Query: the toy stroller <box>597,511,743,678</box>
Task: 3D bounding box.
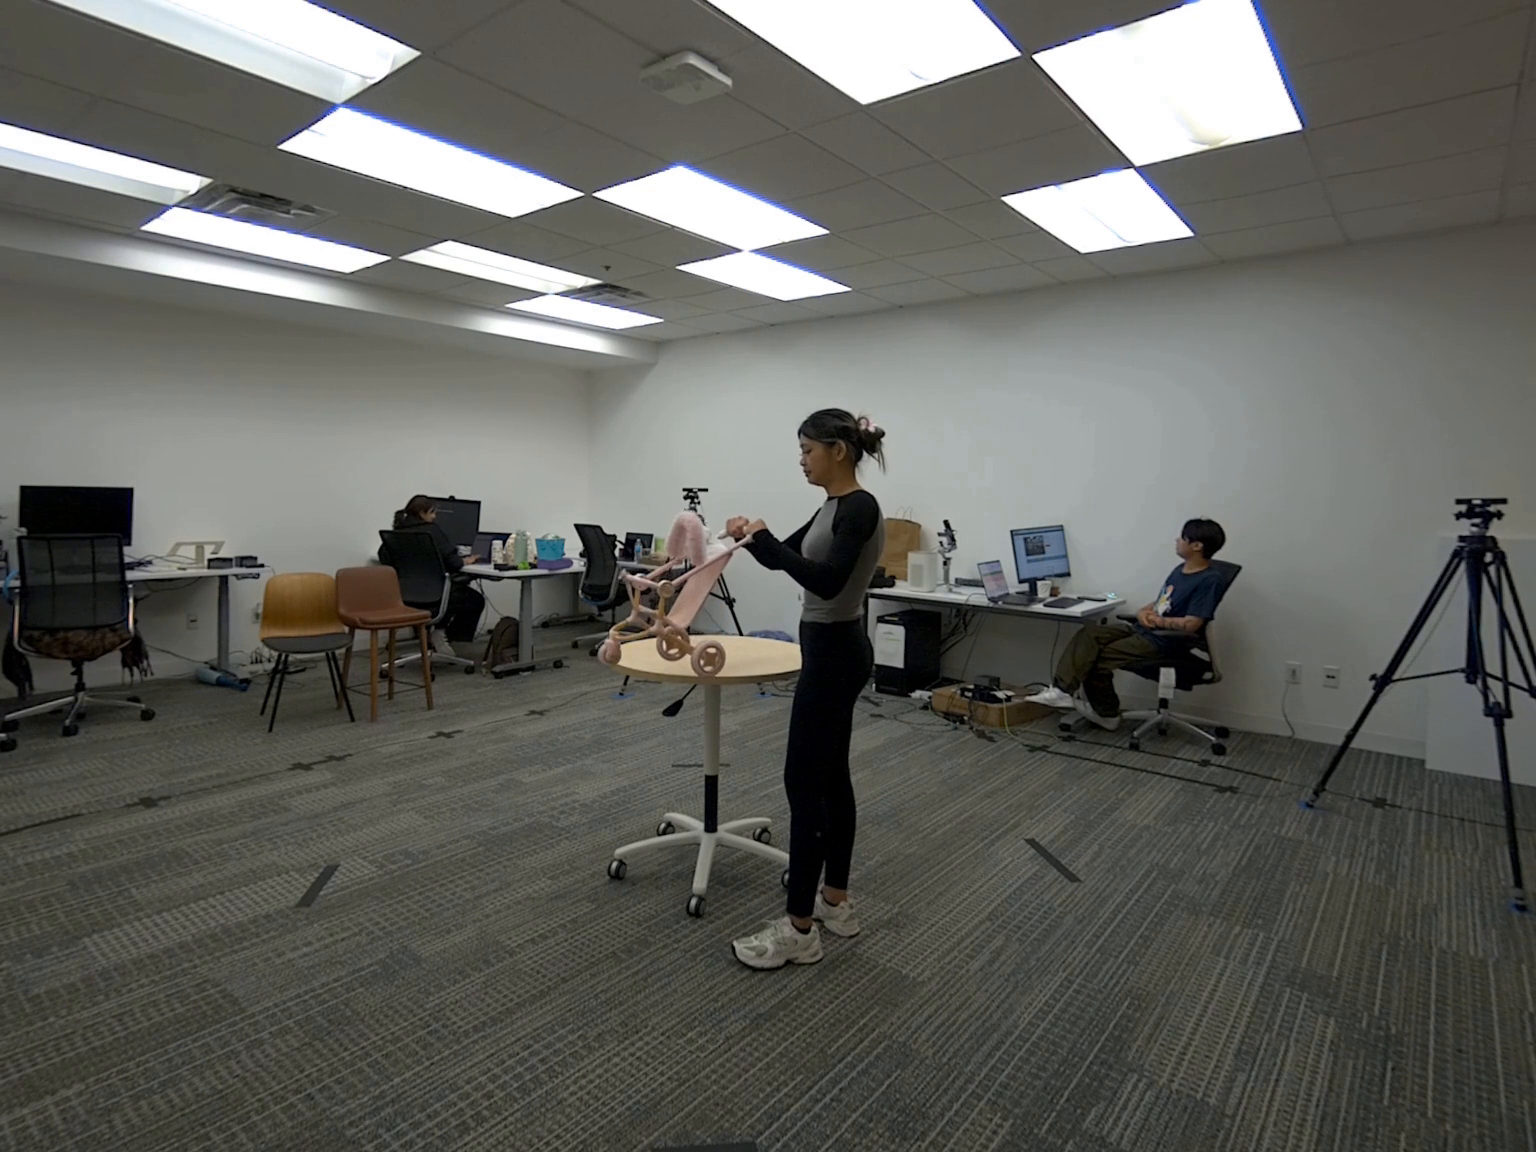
[{"bbox_3d":[-0.285,0.045,2.523,0.332,0.536,0.288,20,-4,-23],"label":"toy stroller"}]
